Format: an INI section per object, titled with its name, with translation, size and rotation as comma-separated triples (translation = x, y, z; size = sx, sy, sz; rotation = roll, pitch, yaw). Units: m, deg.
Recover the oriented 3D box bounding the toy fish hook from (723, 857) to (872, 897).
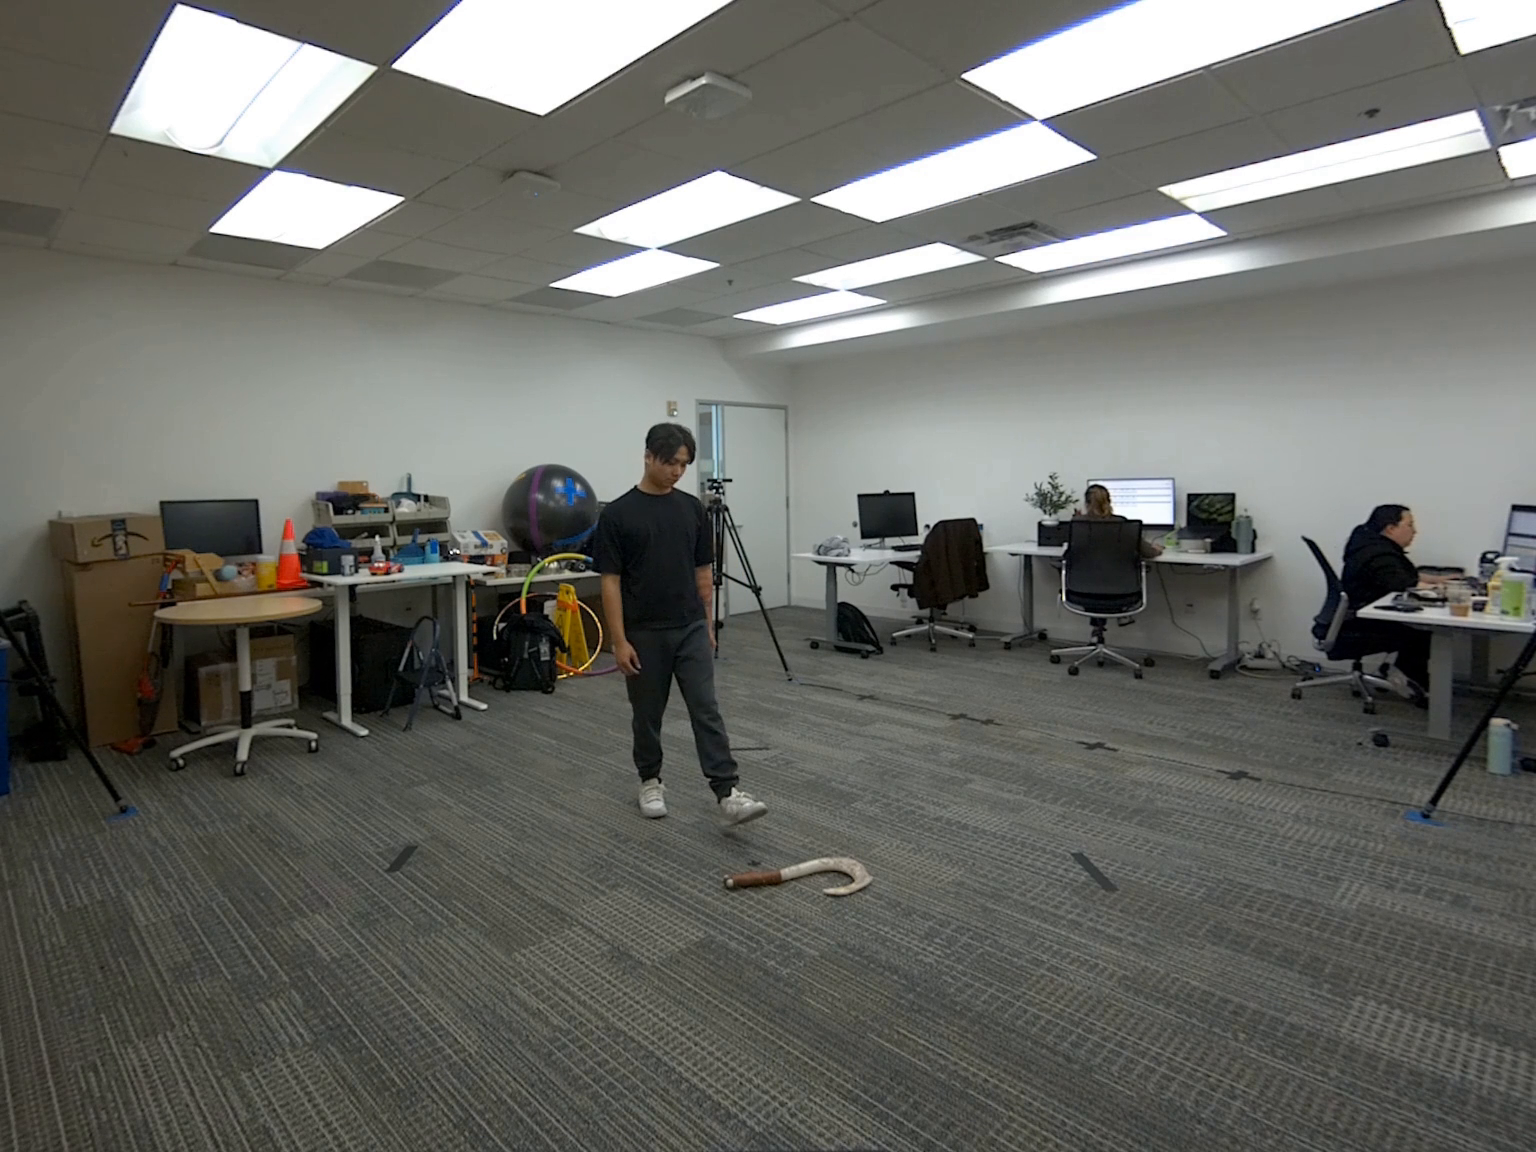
[toy fish hook]
translation = 0.108, 1.039, 2.923
size = 0.500, 0.048, 0.228
rotation = -3, 6, -15
